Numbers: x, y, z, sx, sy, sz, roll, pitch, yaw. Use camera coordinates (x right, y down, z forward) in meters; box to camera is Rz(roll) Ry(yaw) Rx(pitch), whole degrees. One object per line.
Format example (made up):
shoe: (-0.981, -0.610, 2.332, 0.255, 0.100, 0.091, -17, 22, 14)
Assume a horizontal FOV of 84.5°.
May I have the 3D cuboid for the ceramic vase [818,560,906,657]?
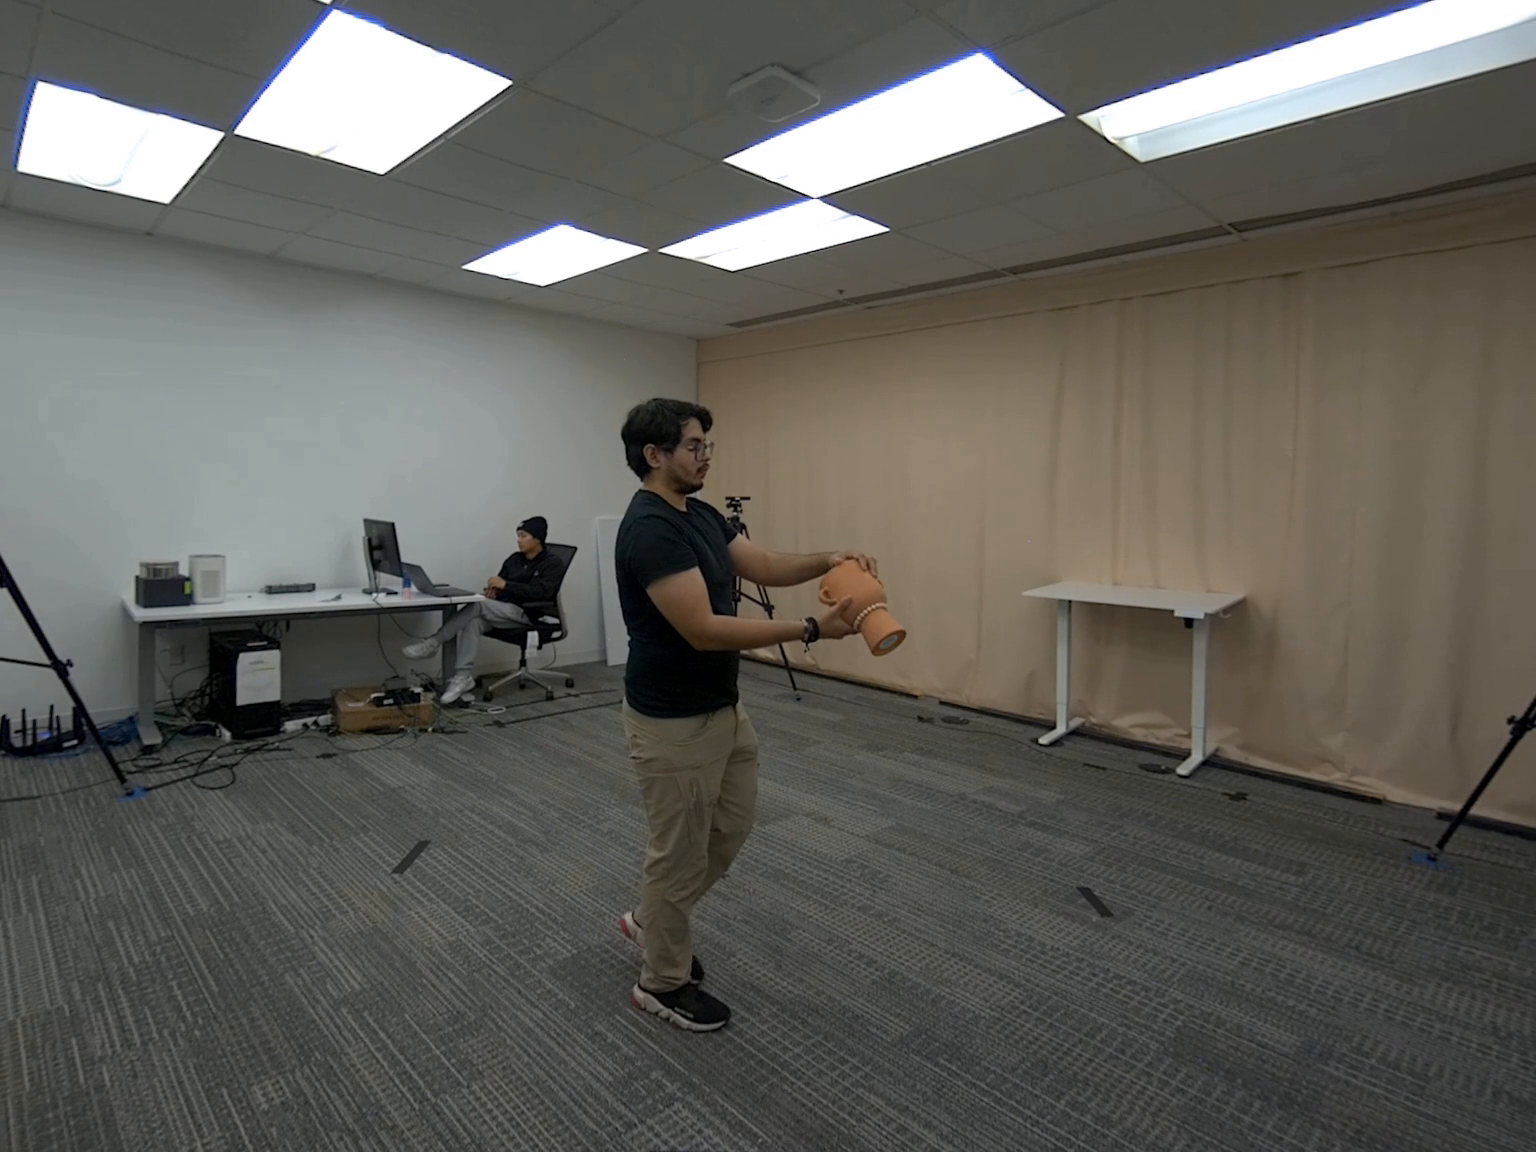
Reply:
ceramic vase: (0.222, 0.086, 2.055, 0.226, 0.159, 0.130, 55, 6, 34)
